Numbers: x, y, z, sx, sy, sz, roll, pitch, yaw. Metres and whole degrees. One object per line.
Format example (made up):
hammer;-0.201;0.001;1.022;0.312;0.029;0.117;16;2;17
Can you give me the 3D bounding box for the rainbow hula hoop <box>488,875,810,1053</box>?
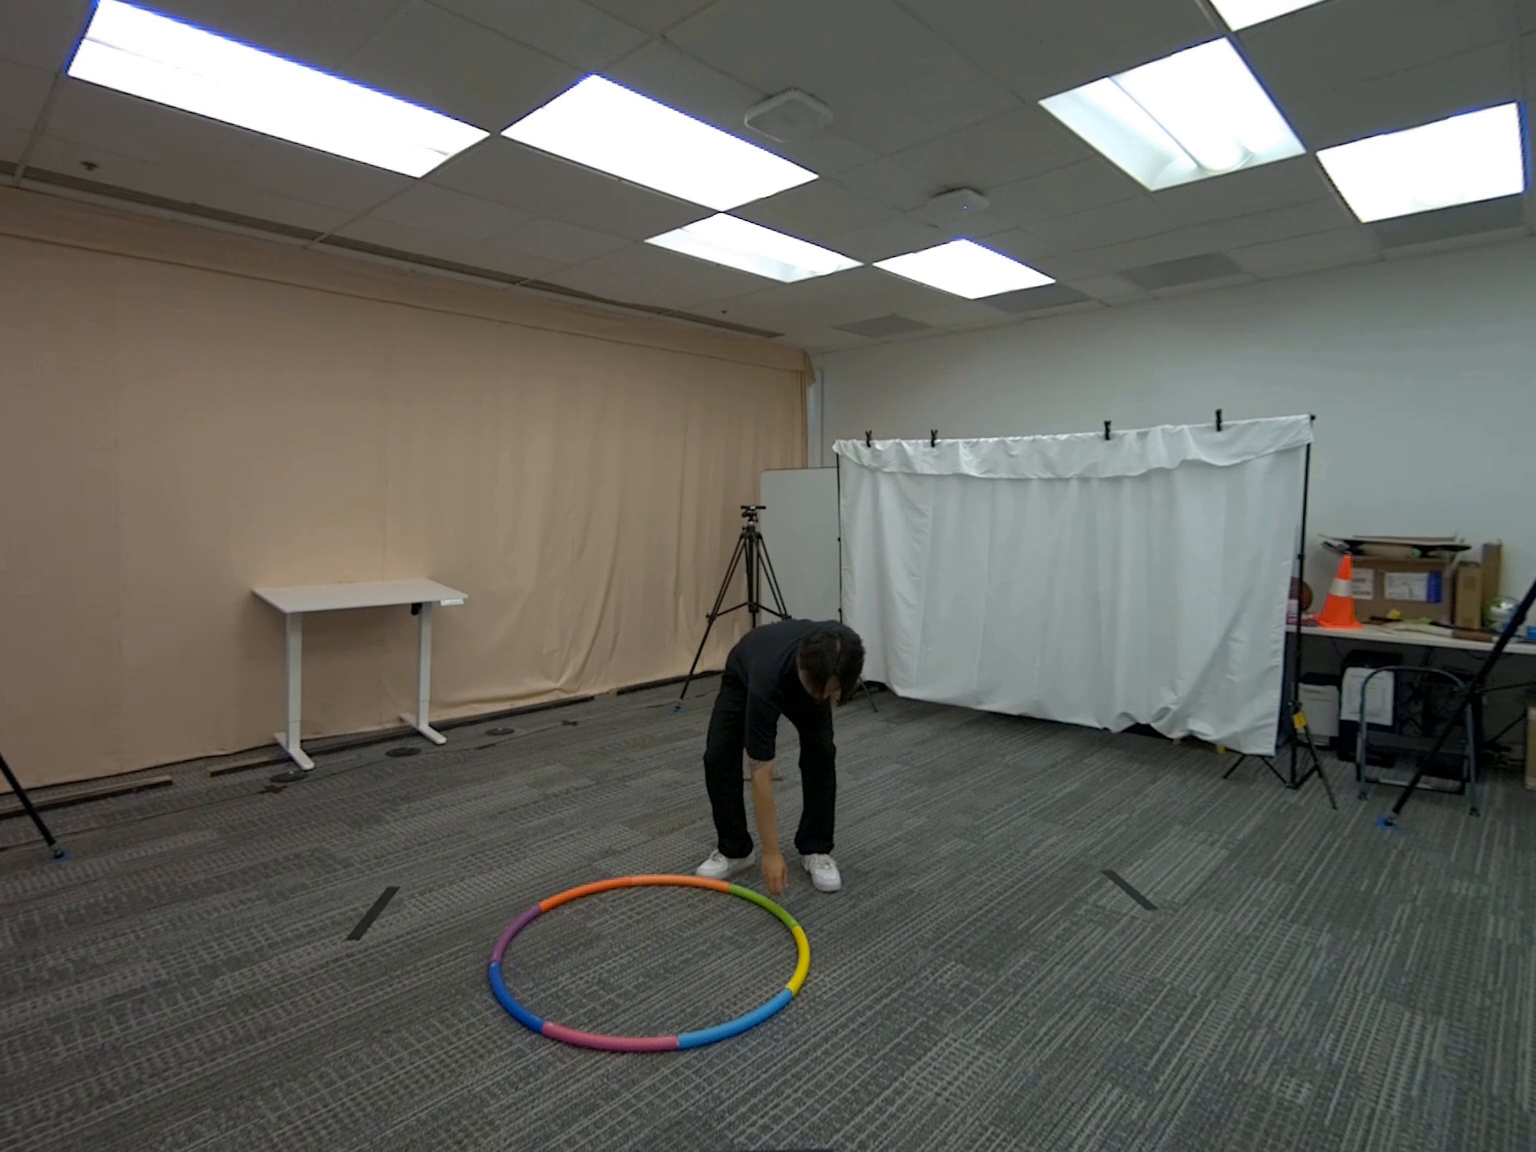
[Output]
rainbow hula hoop;-0.360;1.147;2.629;0.978;0.035;0.982;-1;4;-2
